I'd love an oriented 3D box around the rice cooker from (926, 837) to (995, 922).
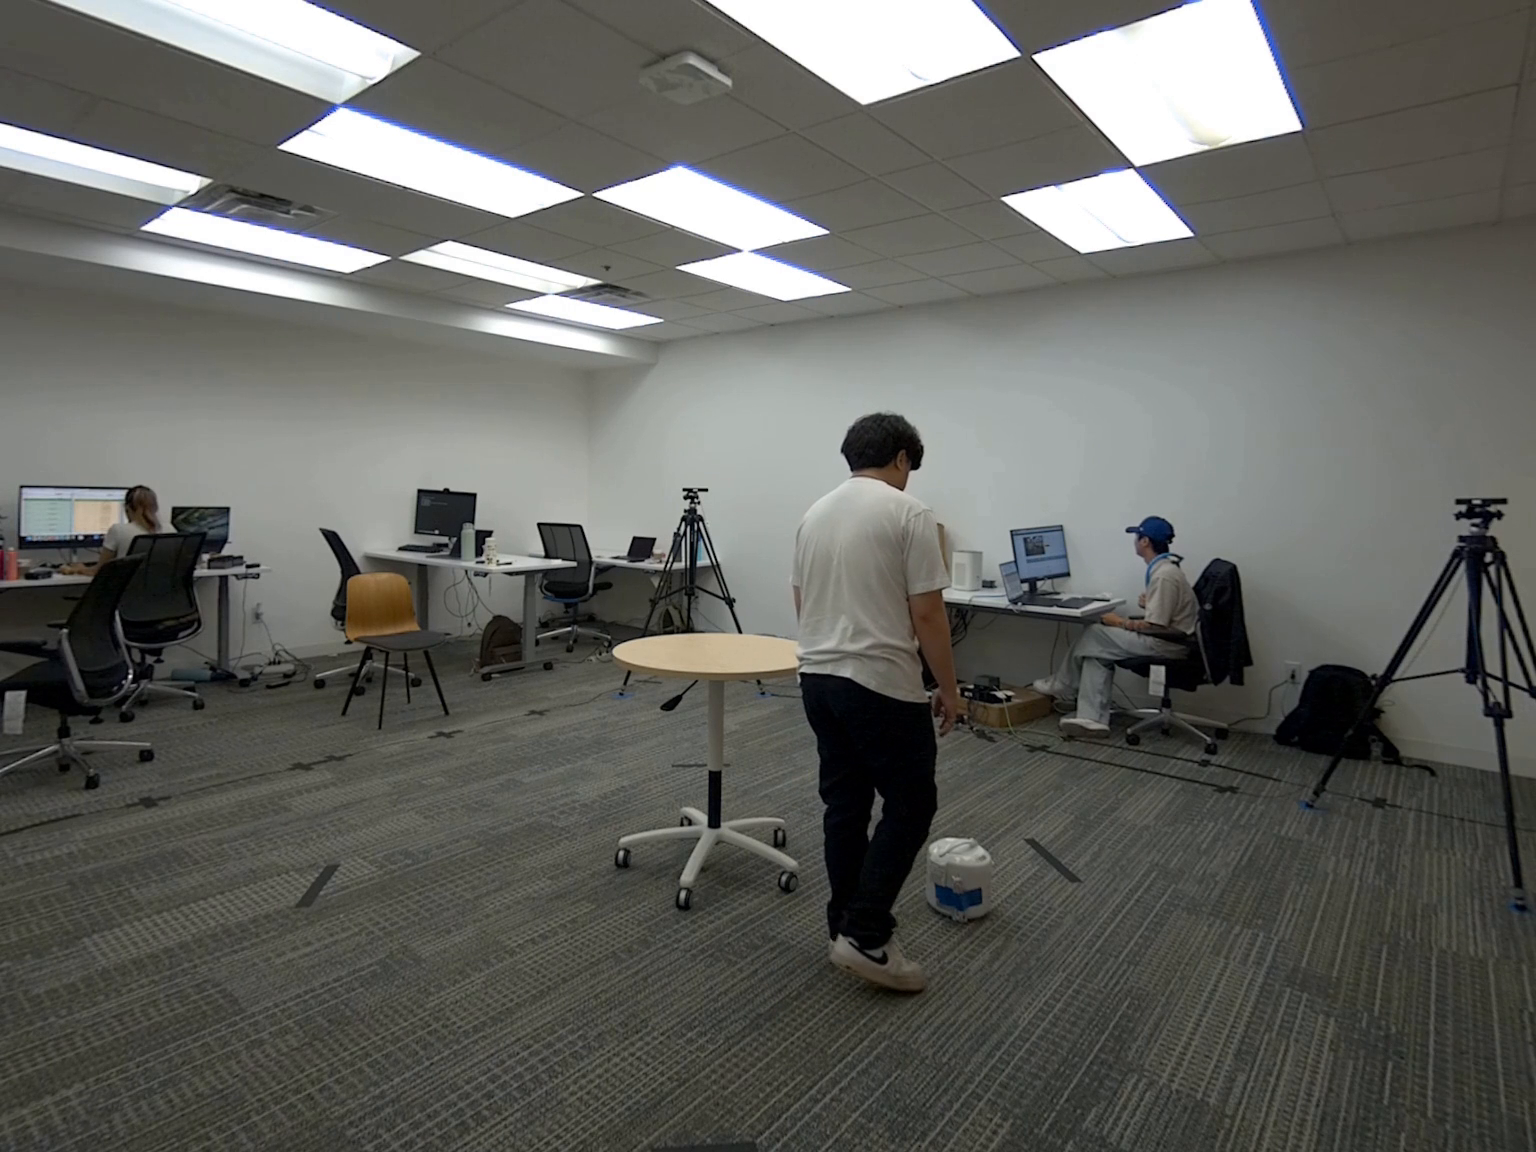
[{"bbox_3d":[0.635,0.997,2.865,0.214,0.232,0.224,-1,5,-32],"label":"rice cooker"}]
